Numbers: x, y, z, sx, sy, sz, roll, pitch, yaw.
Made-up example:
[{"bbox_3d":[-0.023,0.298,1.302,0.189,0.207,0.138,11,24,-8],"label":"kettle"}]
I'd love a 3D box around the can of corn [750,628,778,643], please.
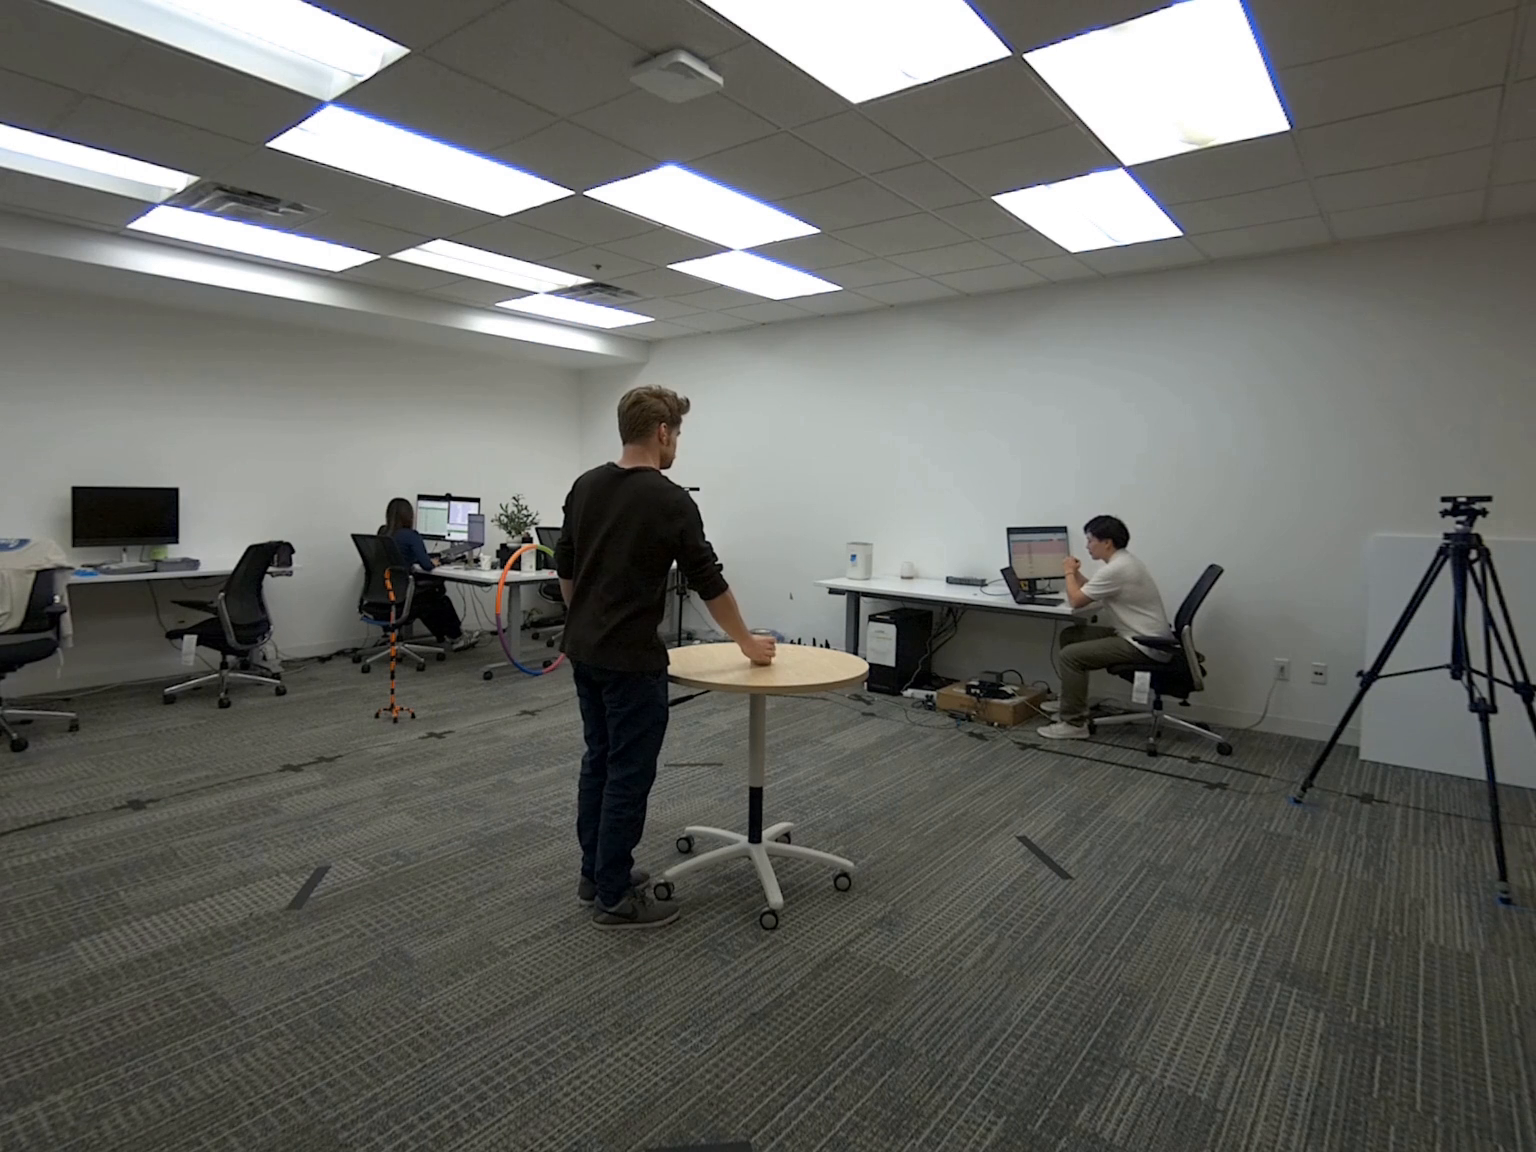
[{"bbox_3d":[-0.029,0.243,2.950,0.074,0.110,0.075,3,6,-2],"label":"can of corn"}]
